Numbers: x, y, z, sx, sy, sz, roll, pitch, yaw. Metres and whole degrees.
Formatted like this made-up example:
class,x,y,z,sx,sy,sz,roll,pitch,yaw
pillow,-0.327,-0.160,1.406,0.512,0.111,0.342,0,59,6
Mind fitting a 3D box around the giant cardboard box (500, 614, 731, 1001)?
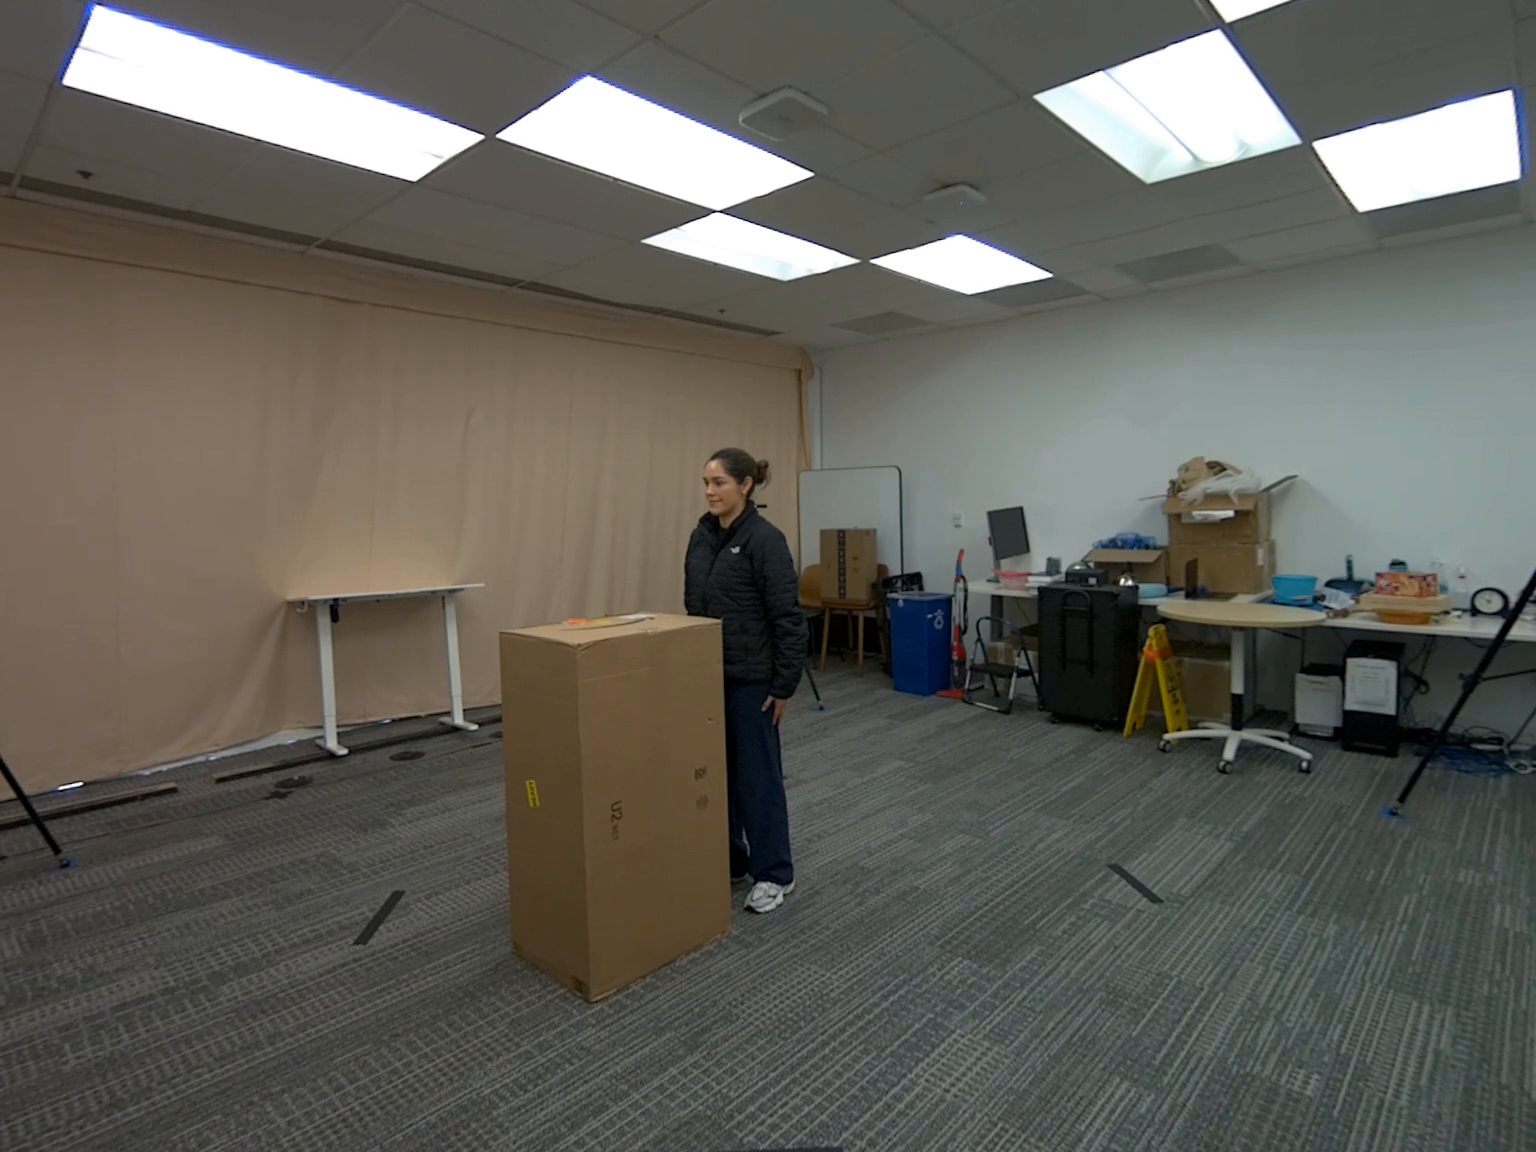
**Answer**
class,x,y,z,sx,sy,sz,roll,pitch,yaw
giant cardboard box,-0.470,0.667,2.682,0.440,1.024,0.560,2,4,43
